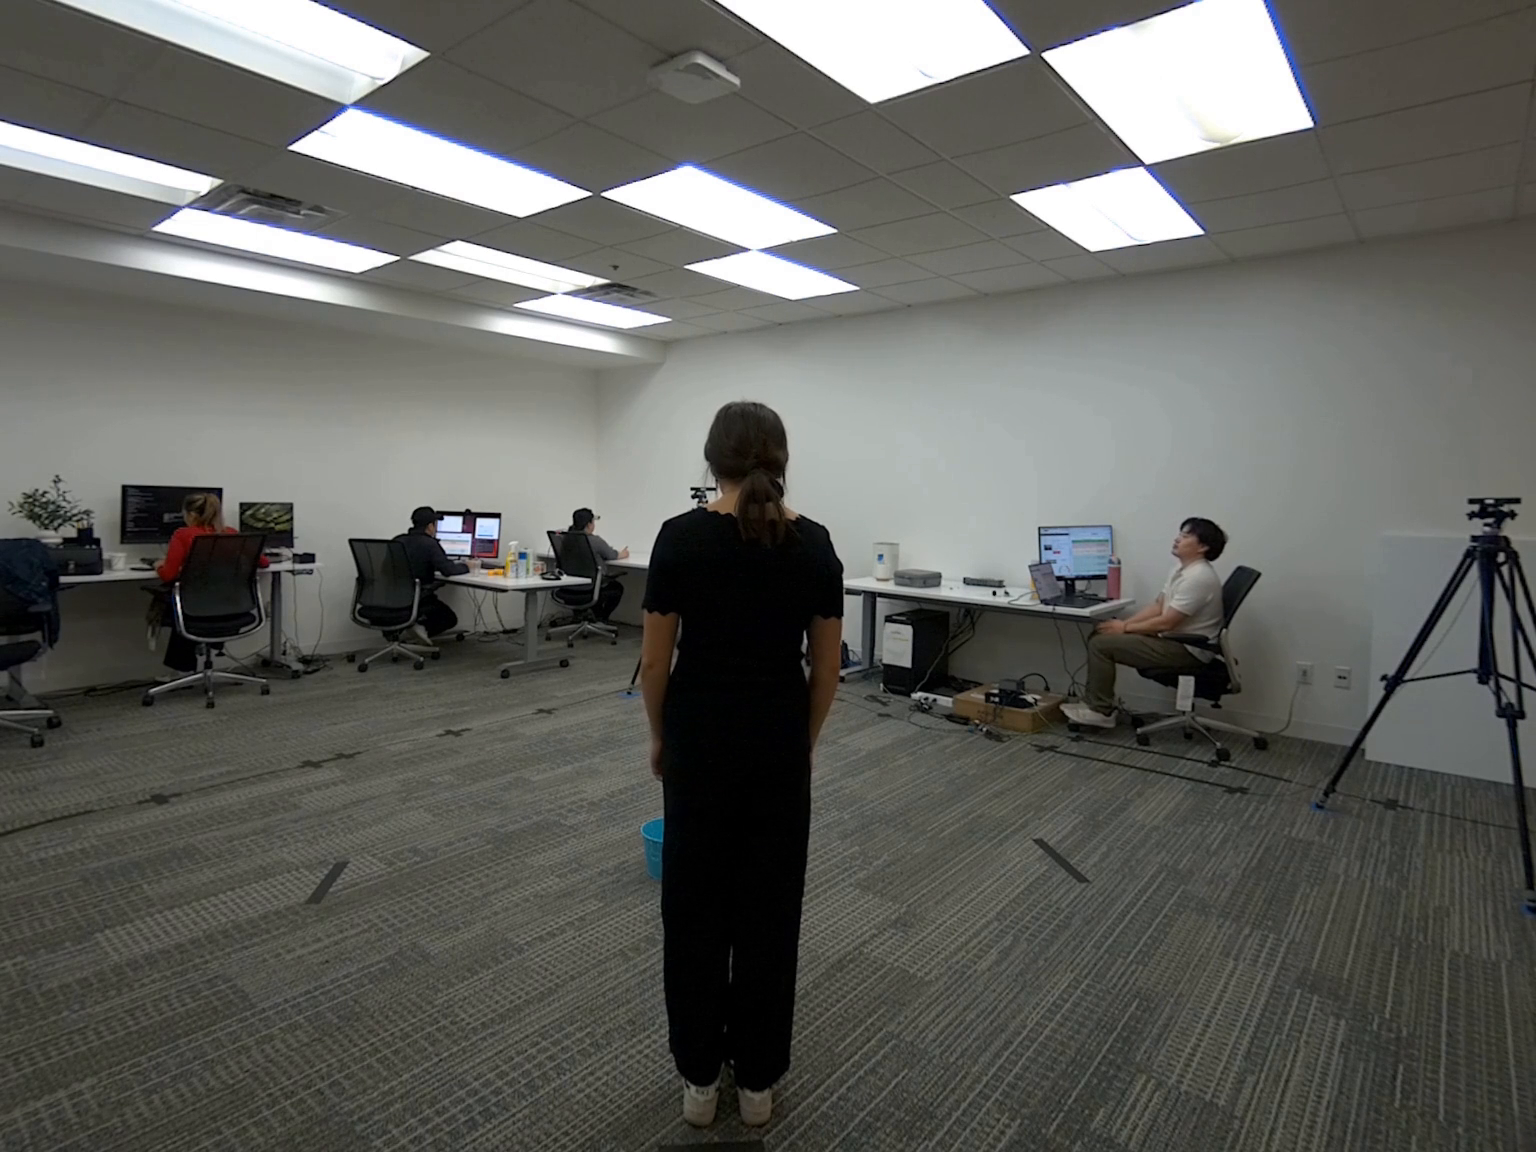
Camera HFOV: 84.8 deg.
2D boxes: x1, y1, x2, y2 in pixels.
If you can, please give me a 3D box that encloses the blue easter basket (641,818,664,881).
[{"bbox_3d":[-0.352,0.982,3.085,0.243,0.155,0.244,0,4,-2],"label":"blue easter basket"}]
